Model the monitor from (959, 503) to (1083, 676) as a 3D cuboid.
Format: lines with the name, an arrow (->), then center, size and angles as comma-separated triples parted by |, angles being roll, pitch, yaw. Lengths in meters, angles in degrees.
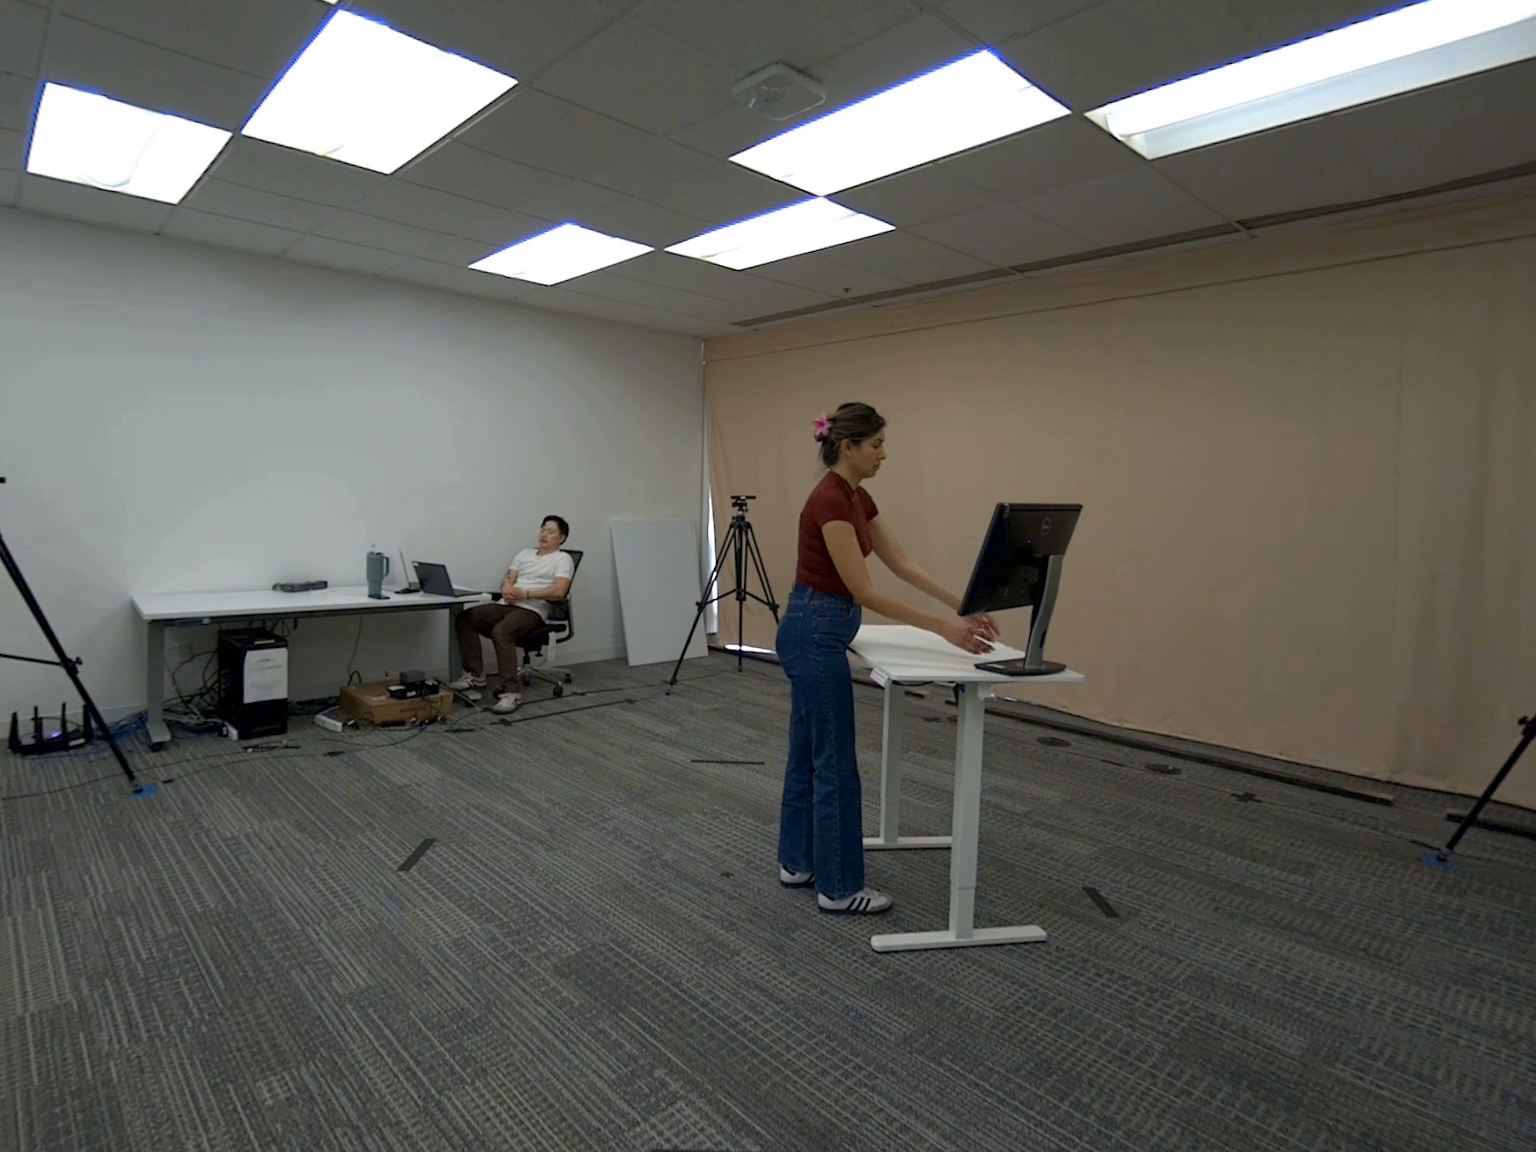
monitor -> 0.801, 0.036, 2.581 | 0.192, 0.520, 0.527 | 8, 8, 41
